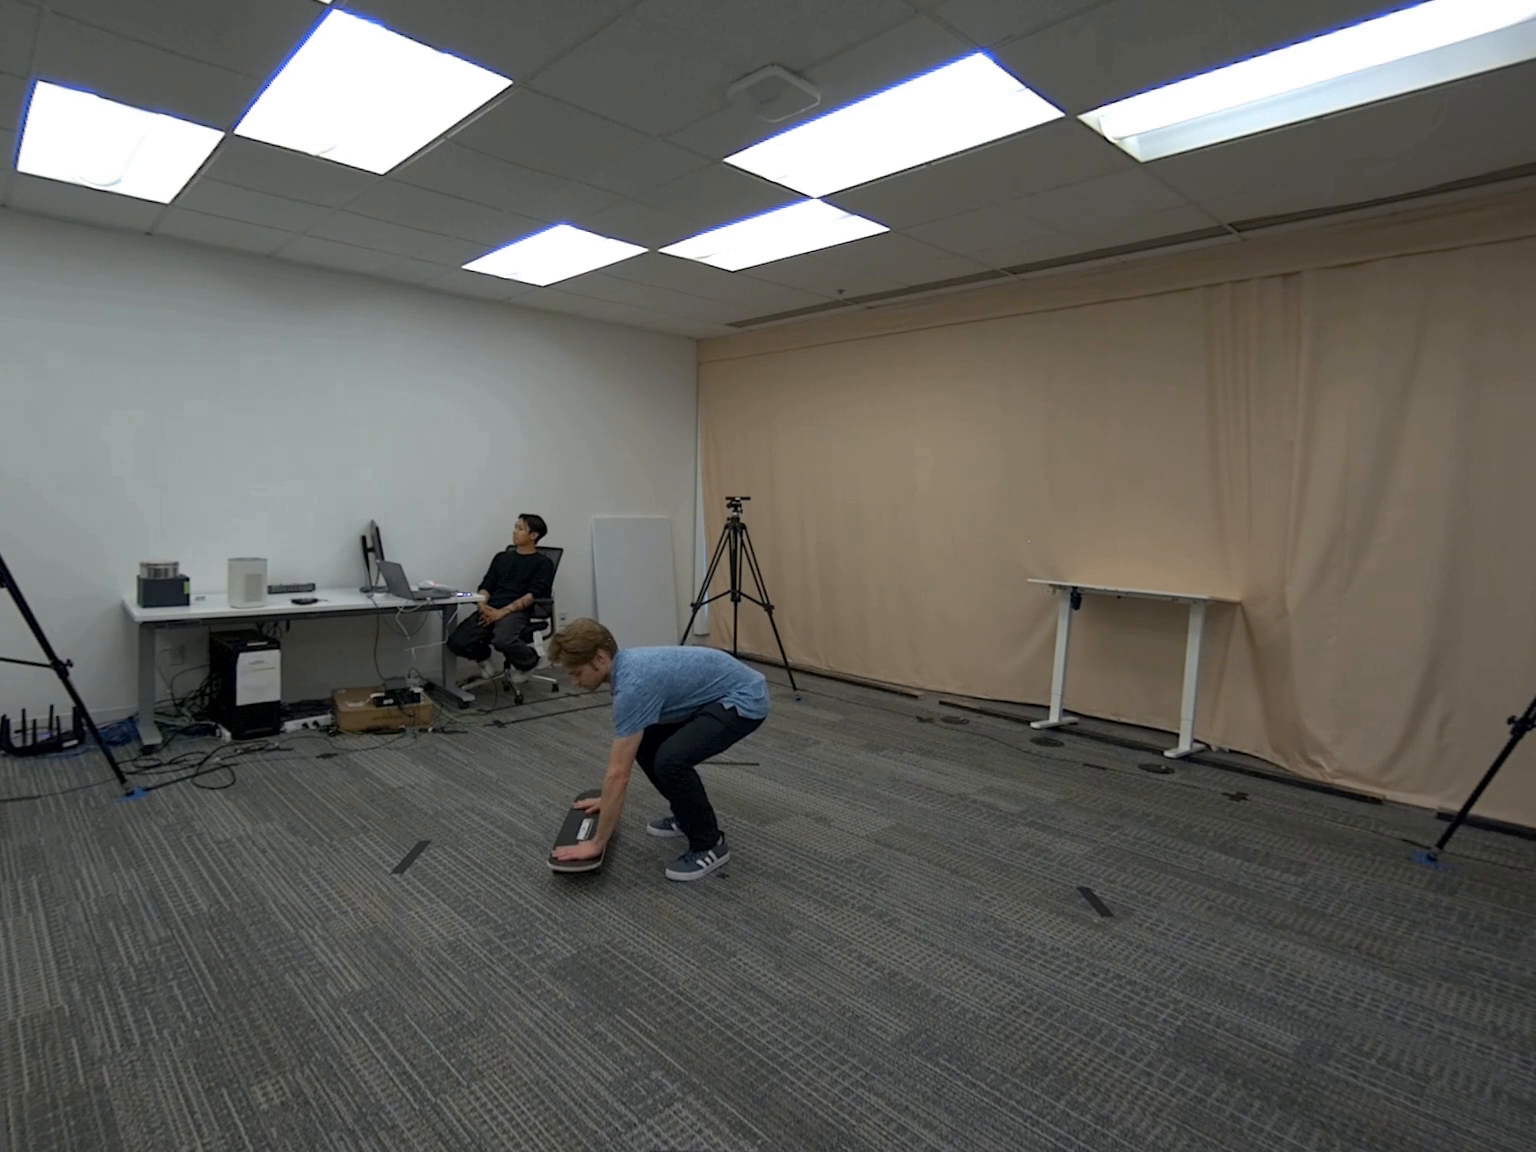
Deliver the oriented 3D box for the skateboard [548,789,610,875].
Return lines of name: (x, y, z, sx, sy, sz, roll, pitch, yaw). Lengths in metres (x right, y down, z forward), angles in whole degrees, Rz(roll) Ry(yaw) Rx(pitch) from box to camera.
skateboard: (-0.711, 1.011, 3.287, 0.193, 0.110, 0.789, 0, 5, -4)
